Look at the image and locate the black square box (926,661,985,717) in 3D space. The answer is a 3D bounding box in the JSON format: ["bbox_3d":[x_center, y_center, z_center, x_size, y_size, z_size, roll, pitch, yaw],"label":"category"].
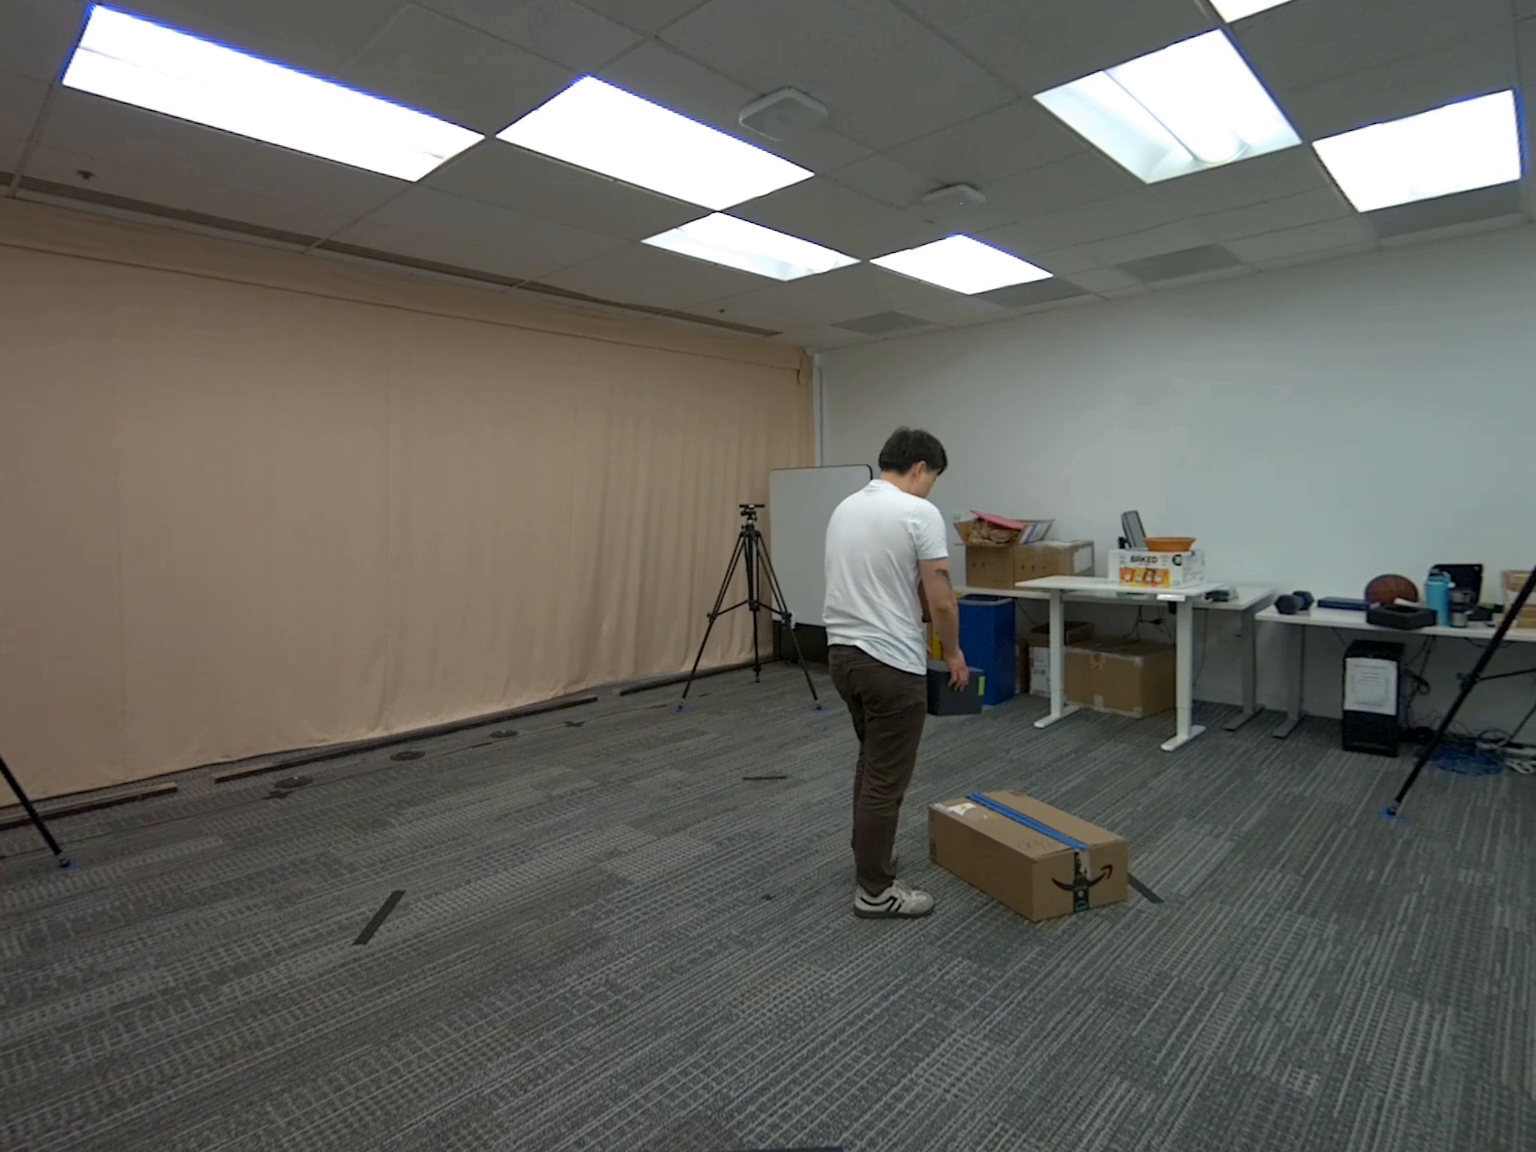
[{"bbox_3d":[0.608,0.396,3.017,0.210,0.156,0.235,4,2,-32],"label":"black square box"}]
